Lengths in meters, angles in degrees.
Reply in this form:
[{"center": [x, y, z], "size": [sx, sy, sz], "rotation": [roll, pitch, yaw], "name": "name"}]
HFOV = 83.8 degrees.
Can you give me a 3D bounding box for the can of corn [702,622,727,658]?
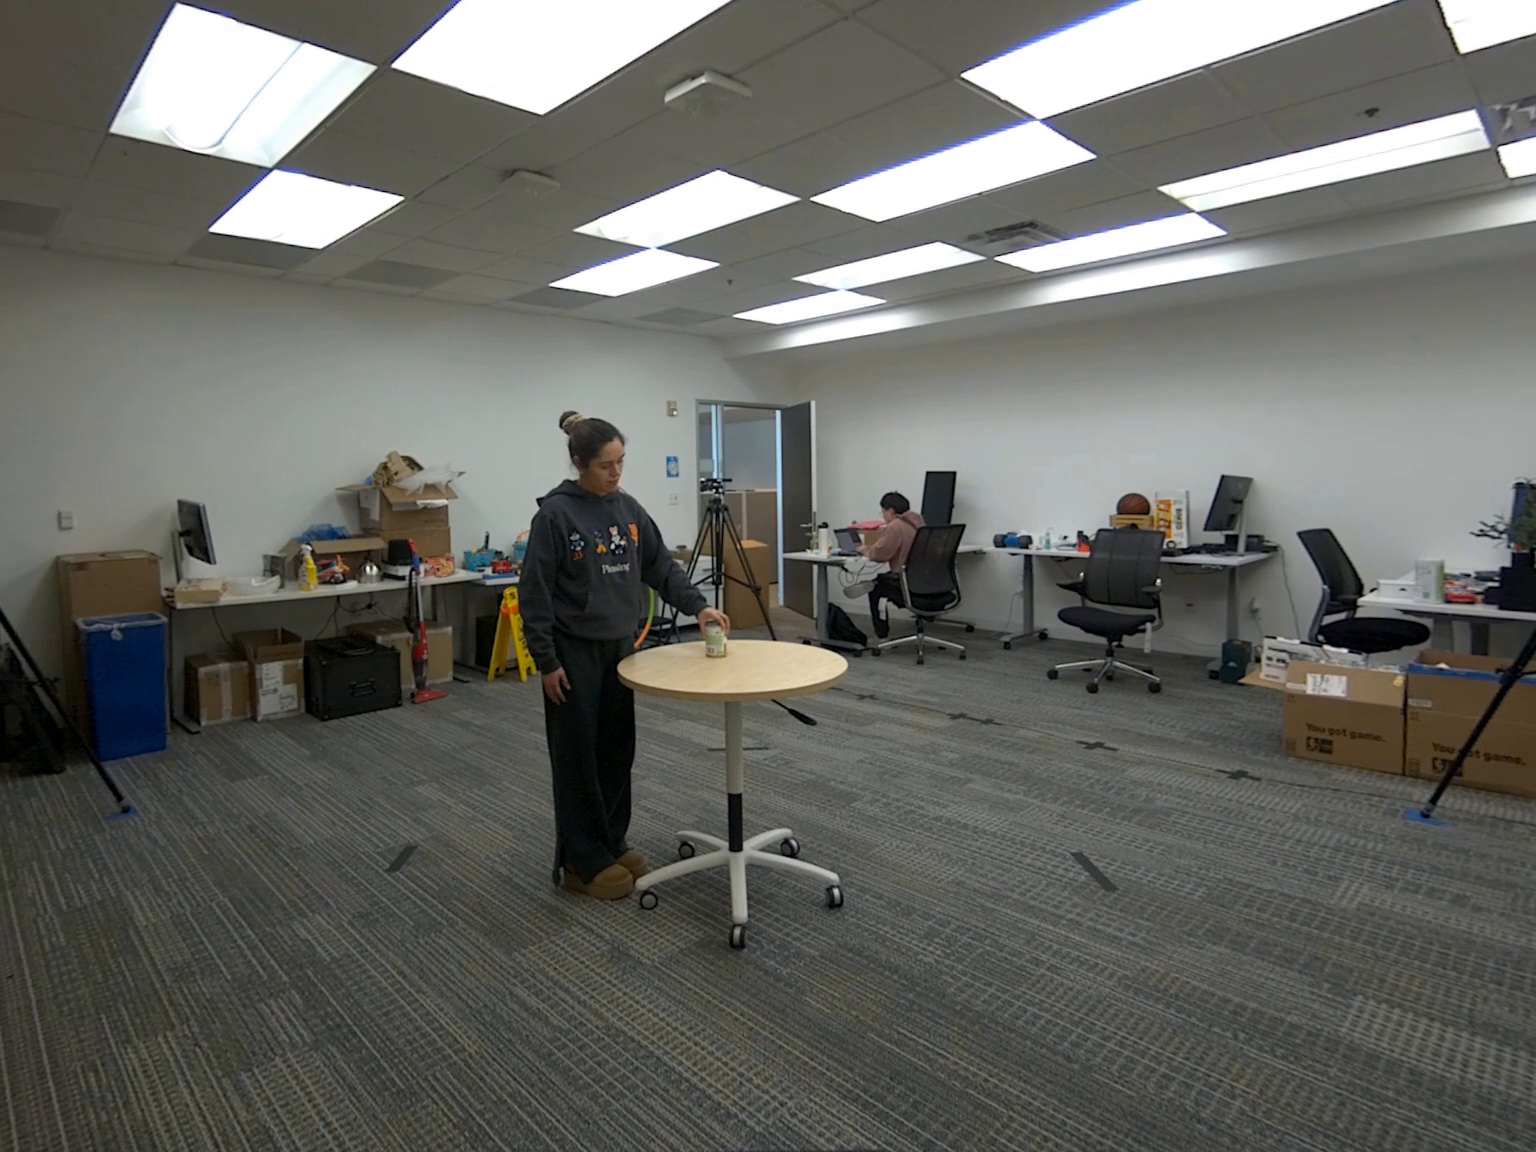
[{"center": [-0.185, 0.218, 2.945], "size": [0.074, 0.111, 0.074], "rotation": [-3, 2, -1], "name": "can of corn"}]
